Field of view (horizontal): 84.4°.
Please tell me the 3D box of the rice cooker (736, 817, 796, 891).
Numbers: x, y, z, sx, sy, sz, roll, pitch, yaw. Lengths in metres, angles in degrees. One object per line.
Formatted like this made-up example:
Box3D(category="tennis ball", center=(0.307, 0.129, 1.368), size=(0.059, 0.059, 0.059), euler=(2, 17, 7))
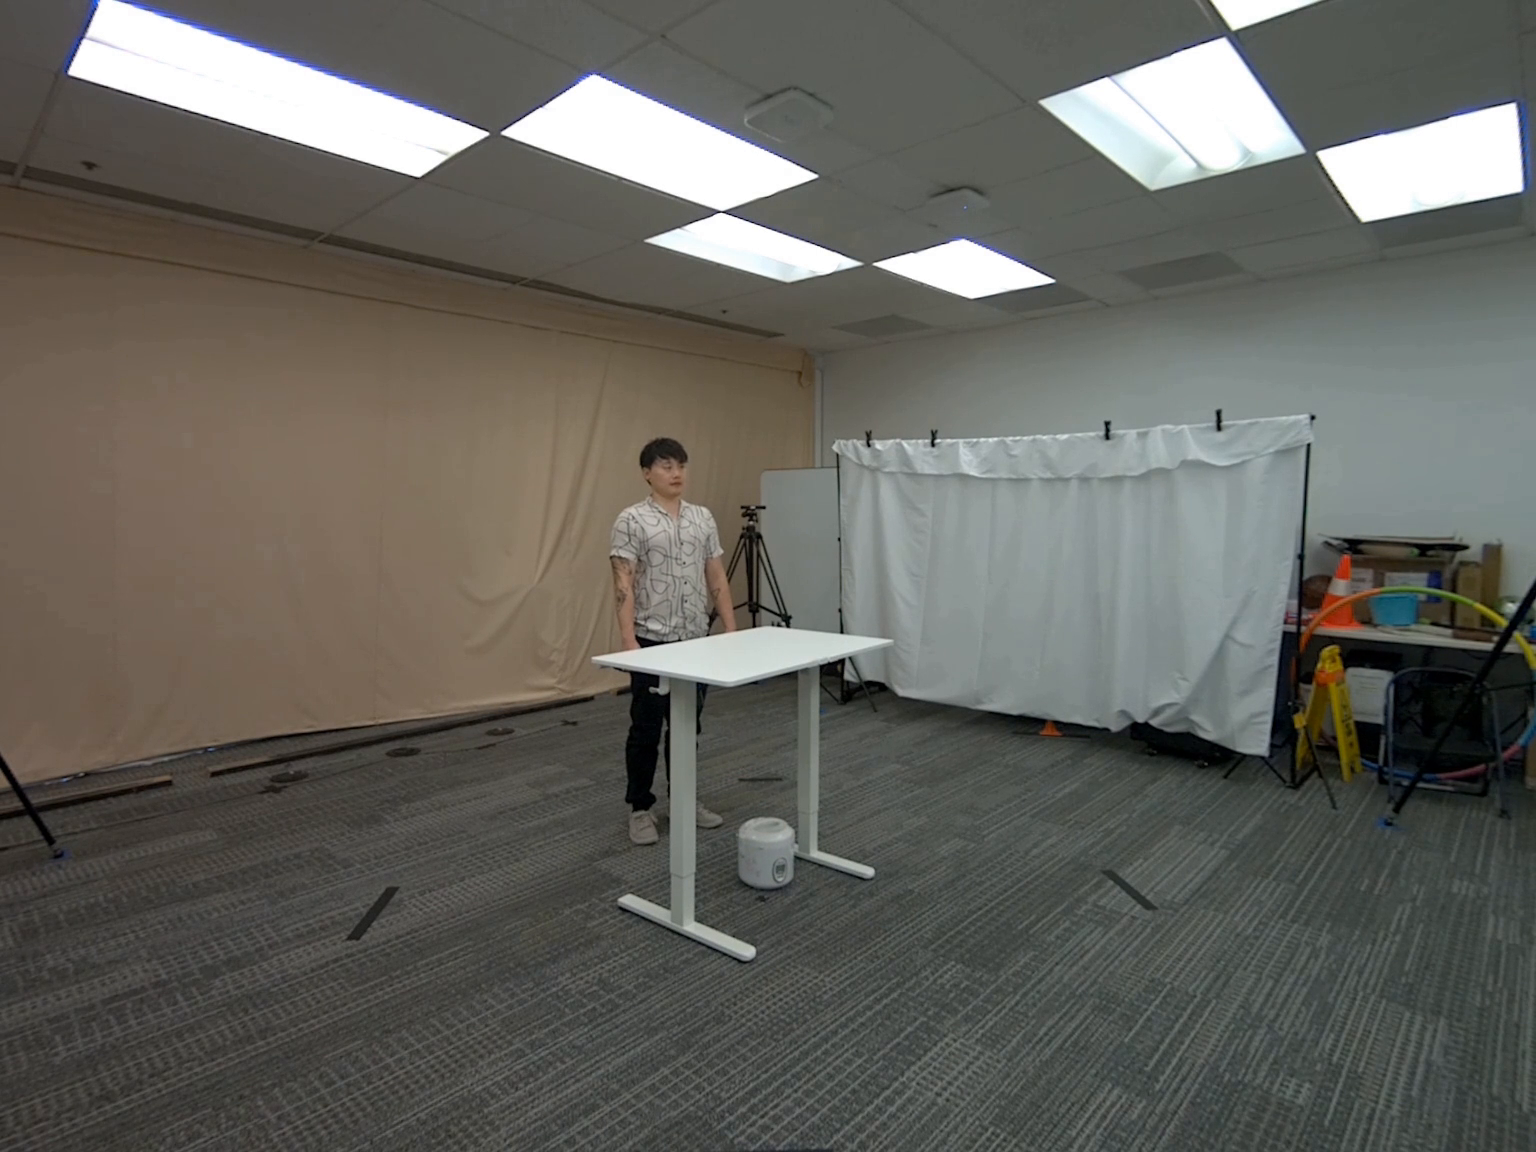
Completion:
Box3D(category="rice cooker", center=(-0.005, 1.016, 3.121), size=(0.215, 0.232, 0.223), euler=(-2, 4, -27))
